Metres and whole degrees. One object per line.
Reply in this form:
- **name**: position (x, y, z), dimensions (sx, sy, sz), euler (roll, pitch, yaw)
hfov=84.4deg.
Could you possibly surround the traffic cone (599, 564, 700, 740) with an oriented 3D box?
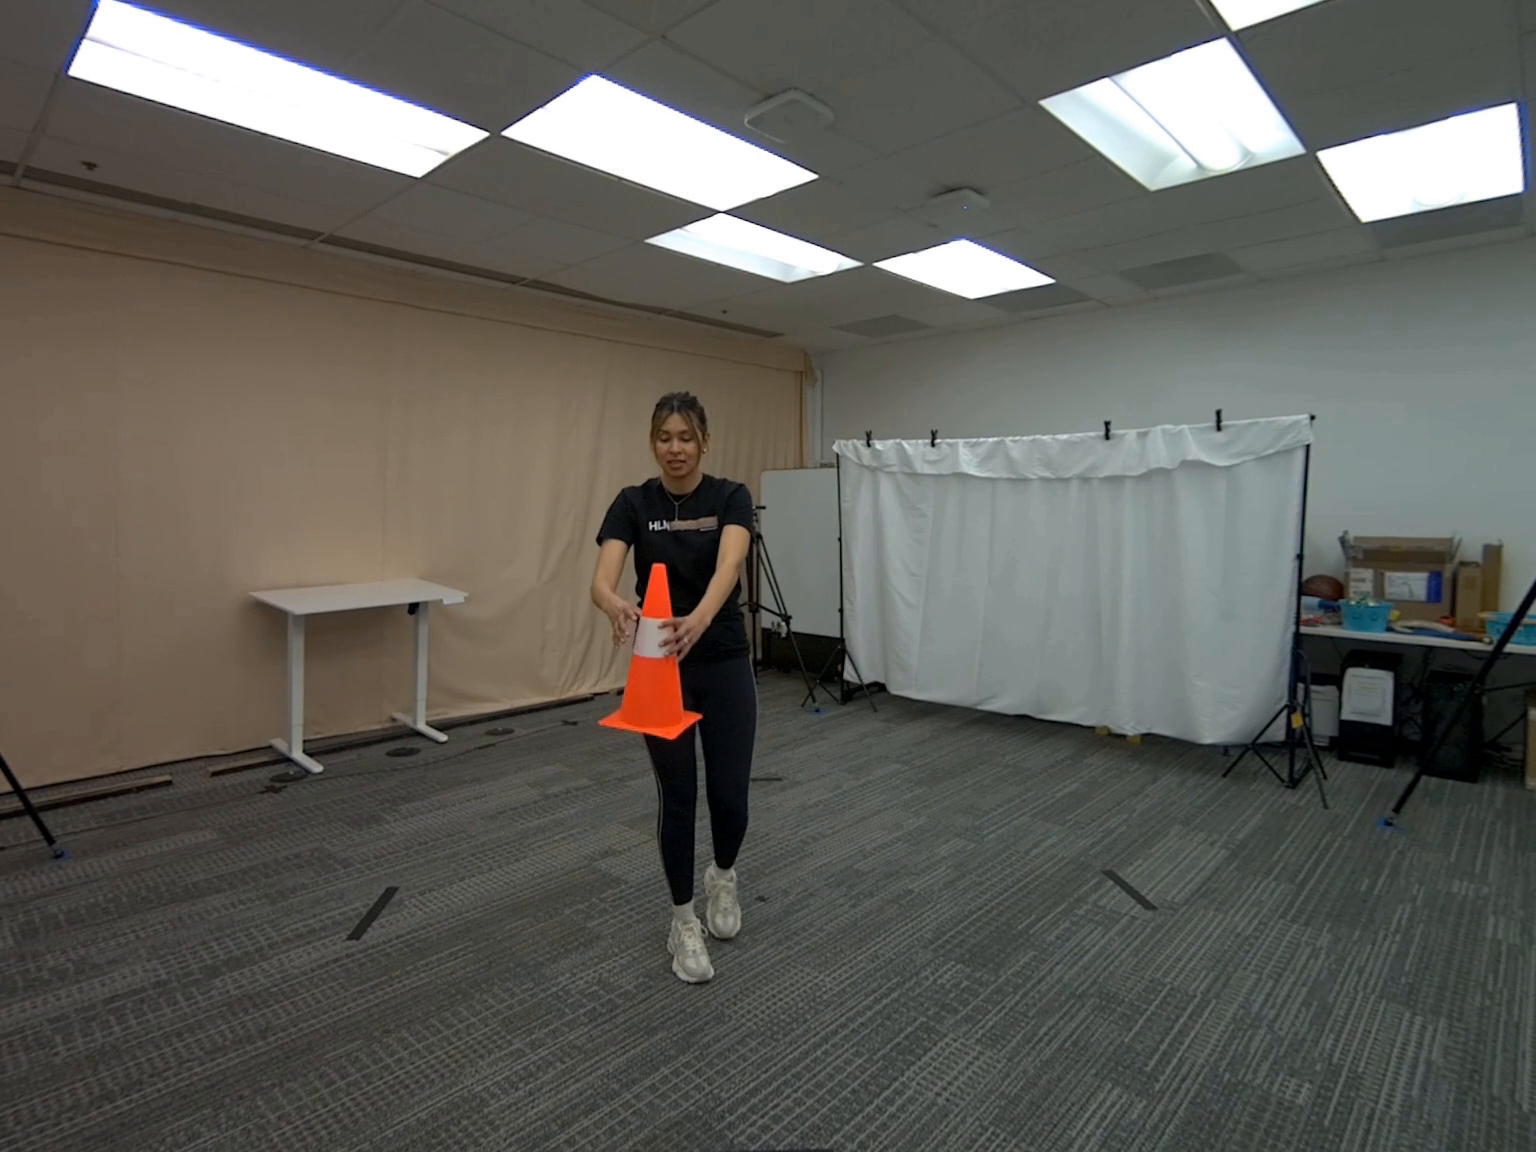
- **traffic cone**: position (-0.269, 0.160, 2.026), dimensions (0.211, 0.383, 0.197), euler (3, 3, 36)
